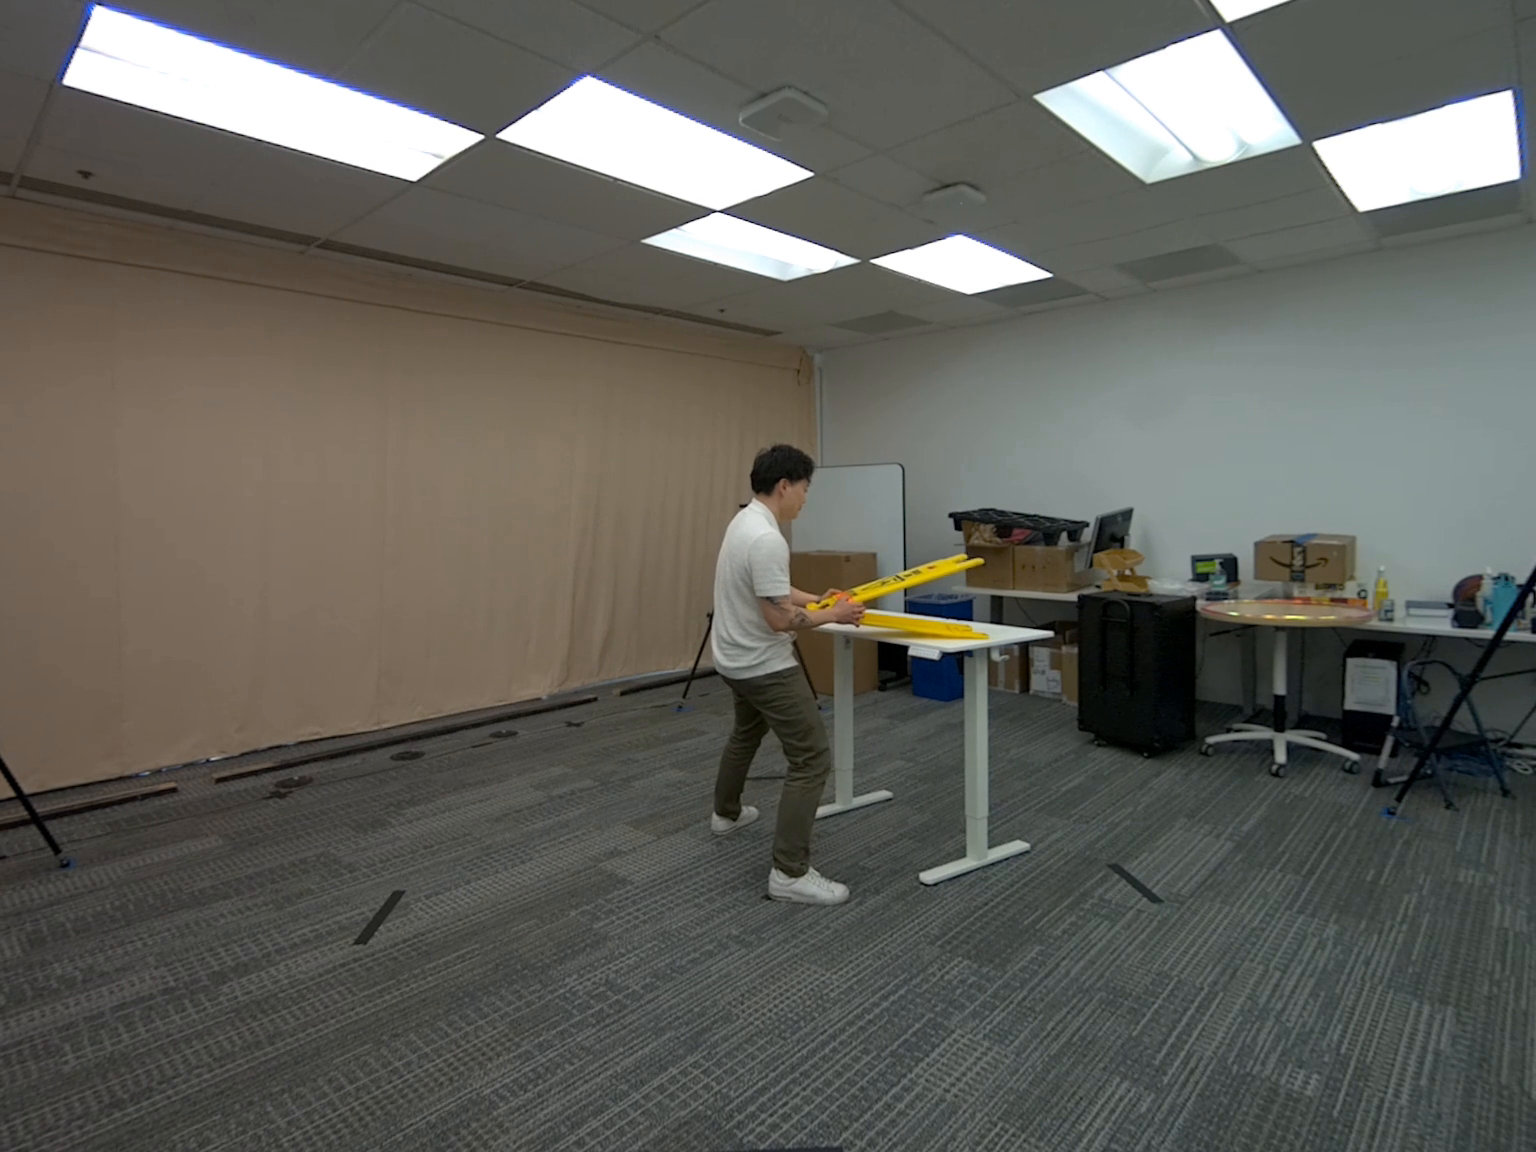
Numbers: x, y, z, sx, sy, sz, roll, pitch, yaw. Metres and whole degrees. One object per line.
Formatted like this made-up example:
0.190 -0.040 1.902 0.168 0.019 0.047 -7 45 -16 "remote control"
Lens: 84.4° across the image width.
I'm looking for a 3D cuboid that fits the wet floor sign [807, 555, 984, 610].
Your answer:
0.484 0.108 3.209 0.646 0.289 0.283 -6 5 0 "wet floor sign"
